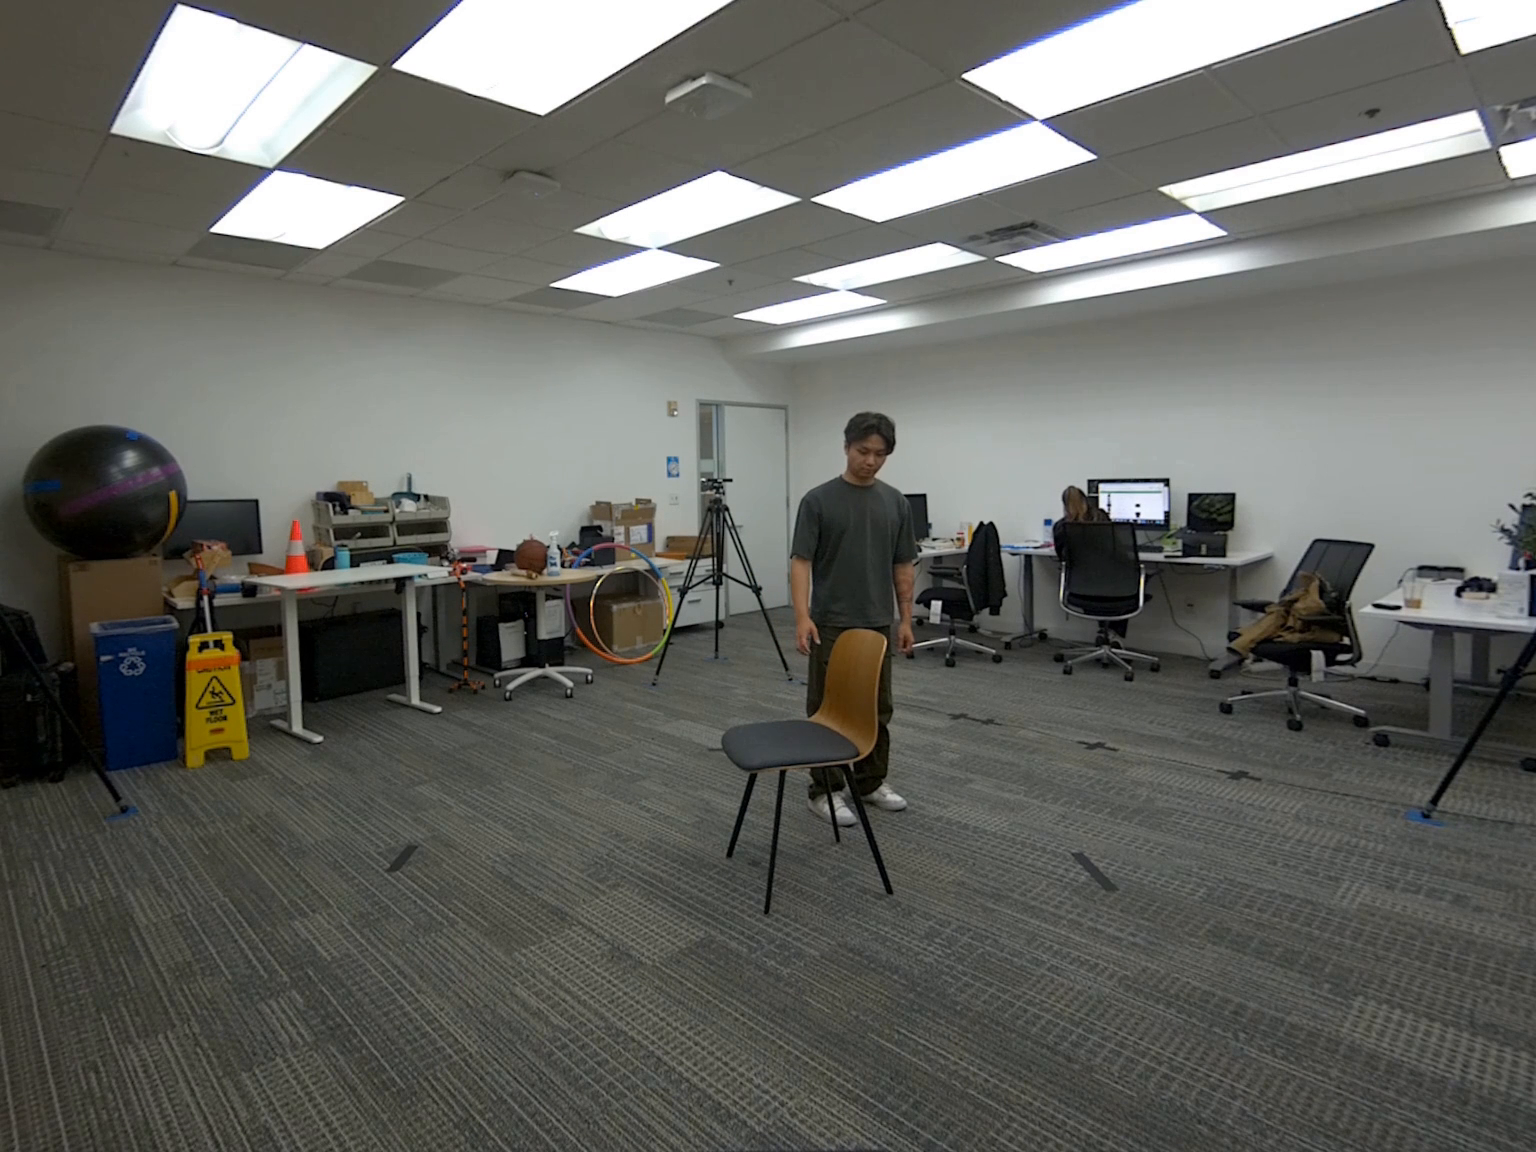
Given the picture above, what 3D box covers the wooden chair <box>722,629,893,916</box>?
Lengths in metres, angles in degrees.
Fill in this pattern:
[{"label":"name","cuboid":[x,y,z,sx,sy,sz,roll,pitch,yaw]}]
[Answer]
[{"label":"wooden chair","cuboid":[0.121,0.628,2.975,0.514,0.875,0.487,2,4,-18]}]
